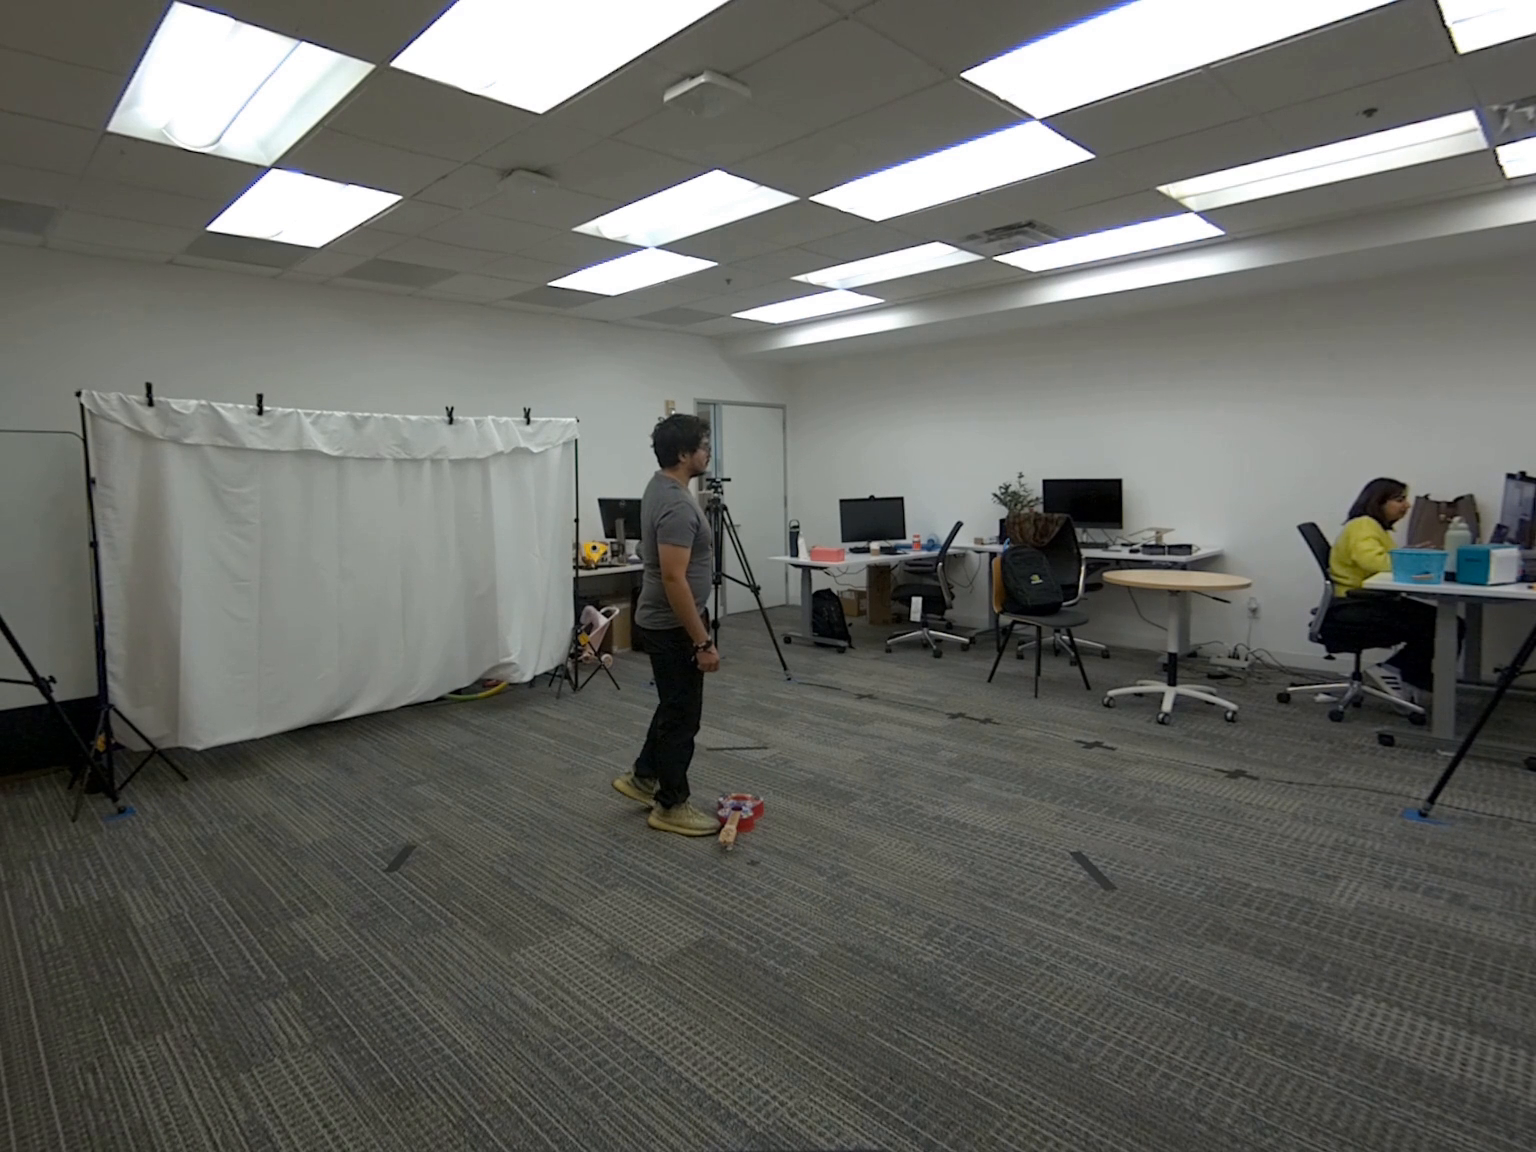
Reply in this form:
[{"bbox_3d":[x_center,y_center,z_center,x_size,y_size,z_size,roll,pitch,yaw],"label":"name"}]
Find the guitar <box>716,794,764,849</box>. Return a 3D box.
[{"bbox_3d":[-0.162,0.972,3.395,0.196,0.070,0.492,2,6,14],"label":"guitar"}]
